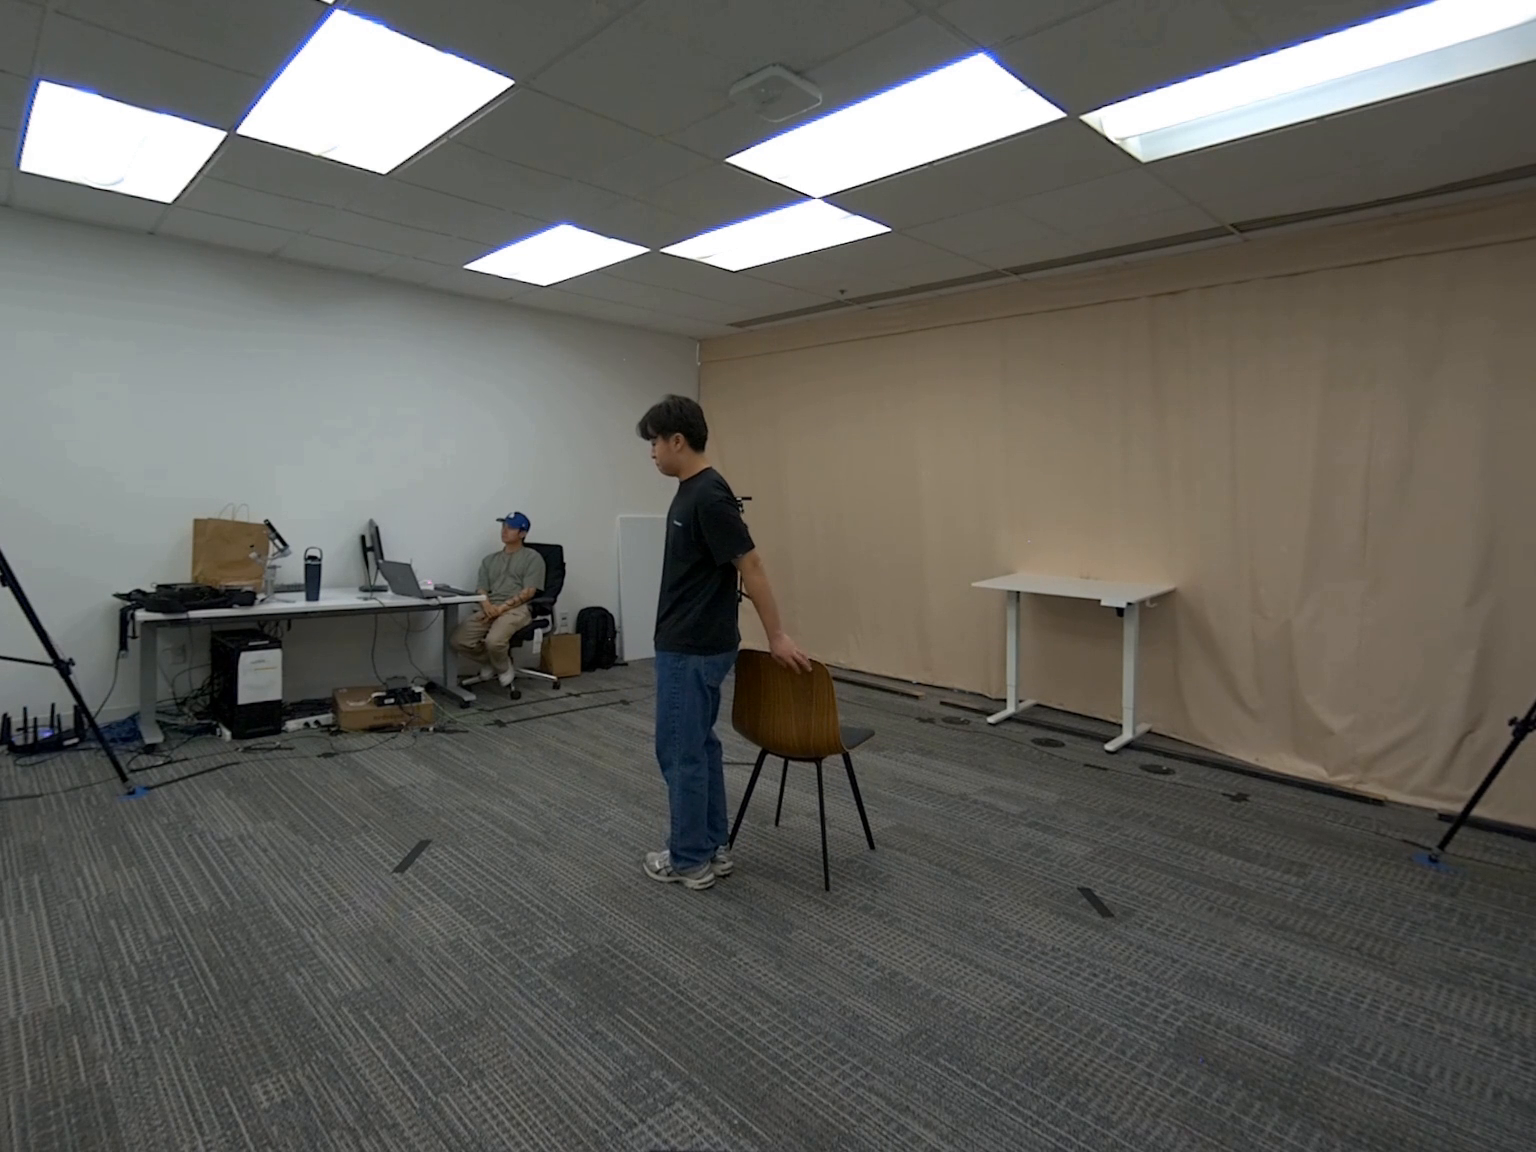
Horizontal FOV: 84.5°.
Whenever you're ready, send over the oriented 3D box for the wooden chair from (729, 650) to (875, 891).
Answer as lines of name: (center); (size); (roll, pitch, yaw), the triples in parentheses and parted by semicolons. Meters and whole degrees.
wooden chair: (0.137, 0.668, 3.281); (0.488, 0.873, 0.514); (3, 8, 29)
